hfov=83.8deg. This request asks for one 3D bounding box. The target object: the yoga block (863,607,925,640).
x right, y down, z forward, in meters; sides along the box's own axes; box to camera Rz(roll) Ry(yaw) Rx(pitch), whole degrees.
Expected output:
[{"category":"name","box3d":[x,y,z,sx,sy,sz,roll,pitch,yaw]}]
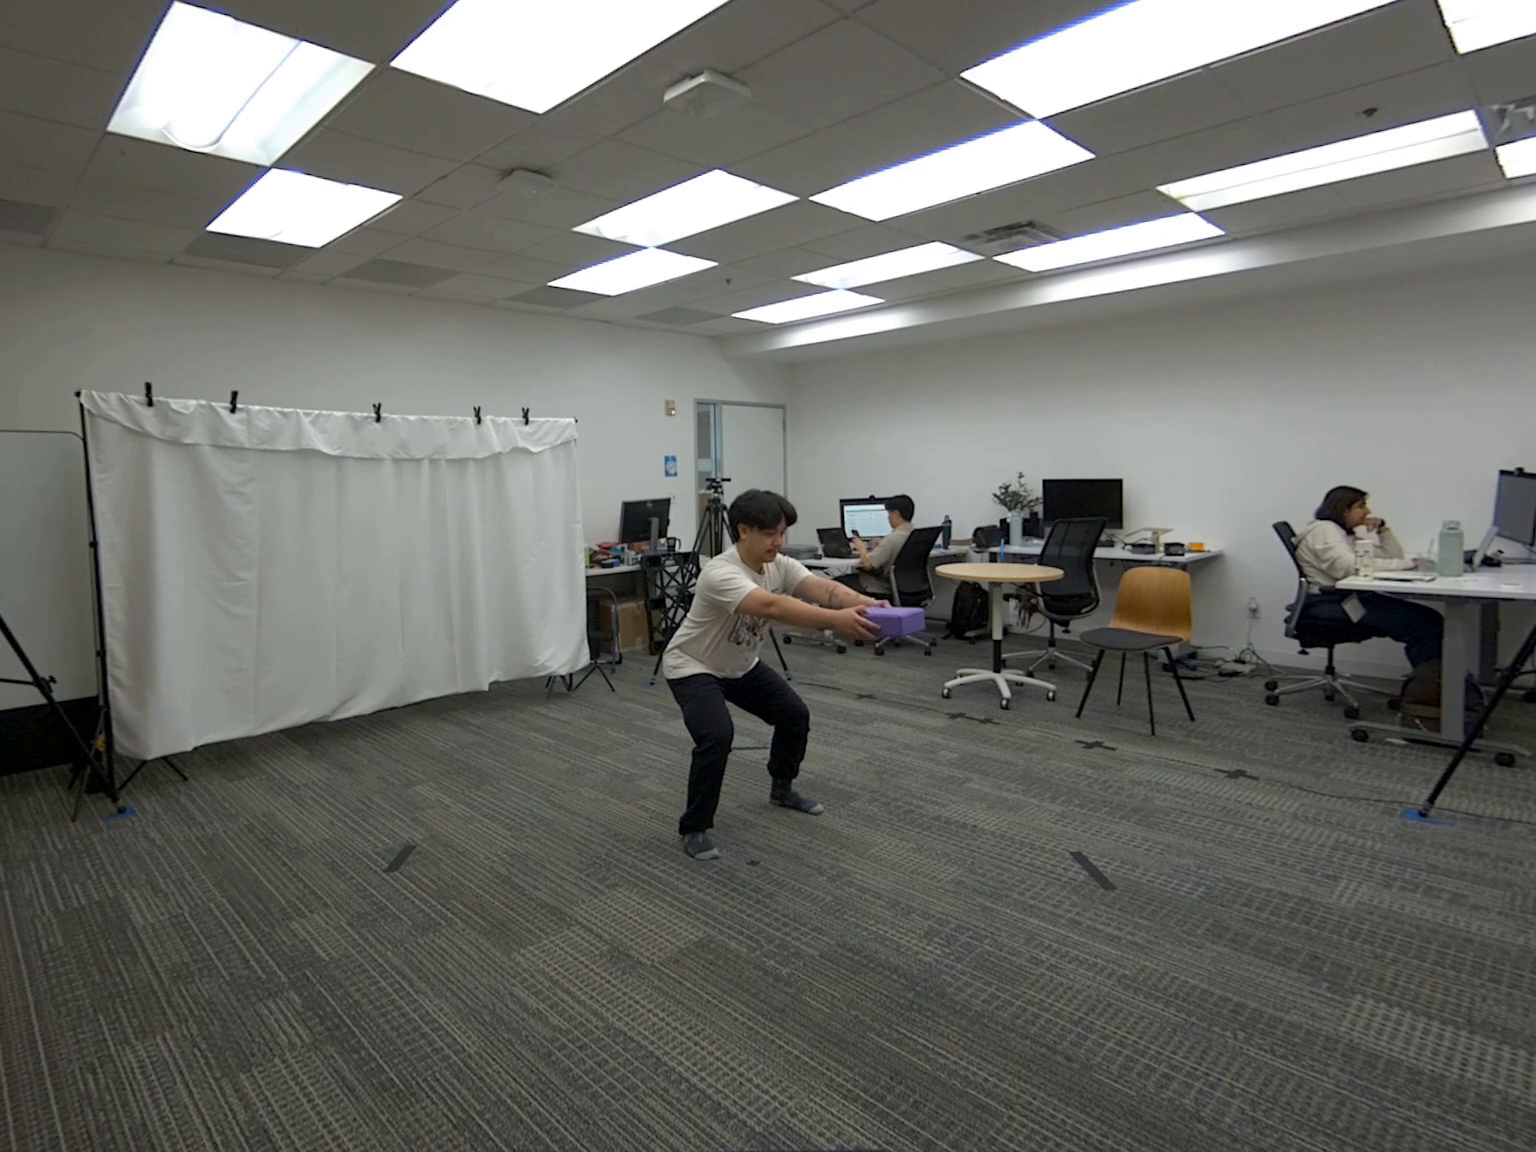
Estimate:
[{"category":"yoga block","box3d":[0.384,0.168,2.895,0.236,0.076,0.145,2,8,40]}]
